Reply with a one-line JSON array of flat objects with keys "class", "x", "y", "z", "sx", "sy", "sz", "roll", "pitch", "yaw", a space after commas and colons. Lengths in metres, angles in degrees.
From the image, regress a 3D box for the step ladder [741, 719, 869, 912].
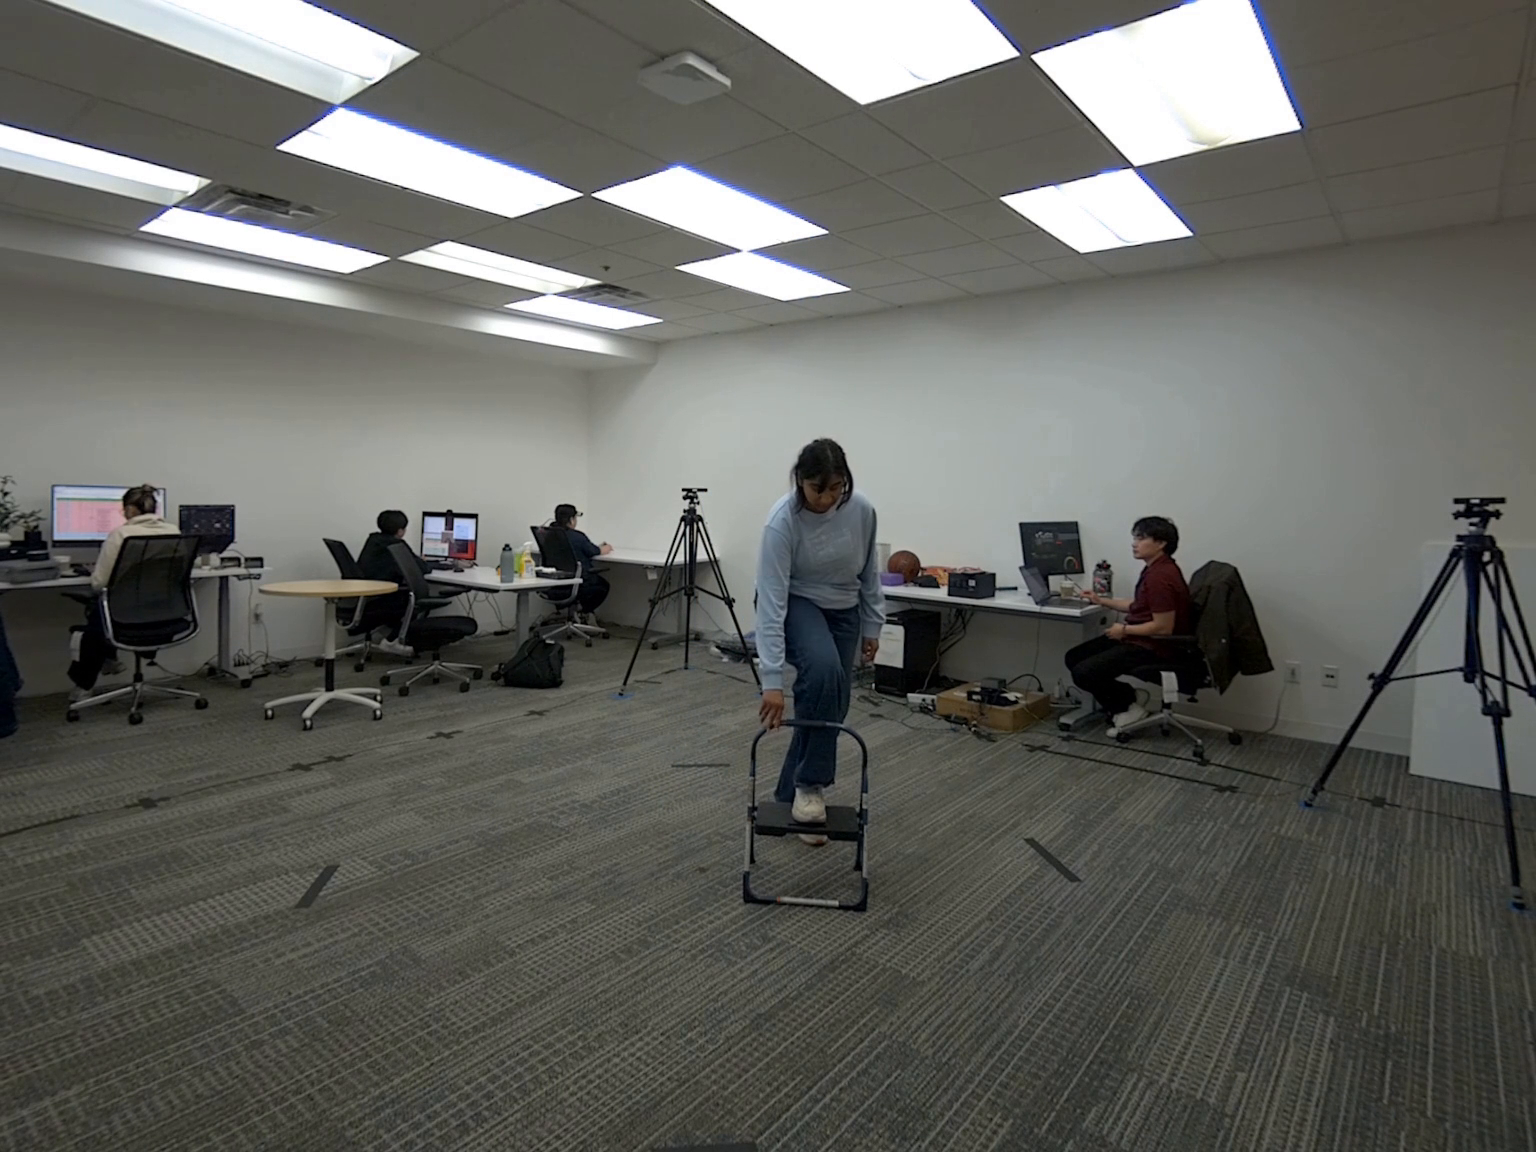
[{"class": "step ladder", "x": 0.125, "y": 0.788, "z": 2.992, "sx": 0.433, "sy": 0.604, "sz": 0.348, "roll": 1, "pitch": 4, "yaw": 4}]
